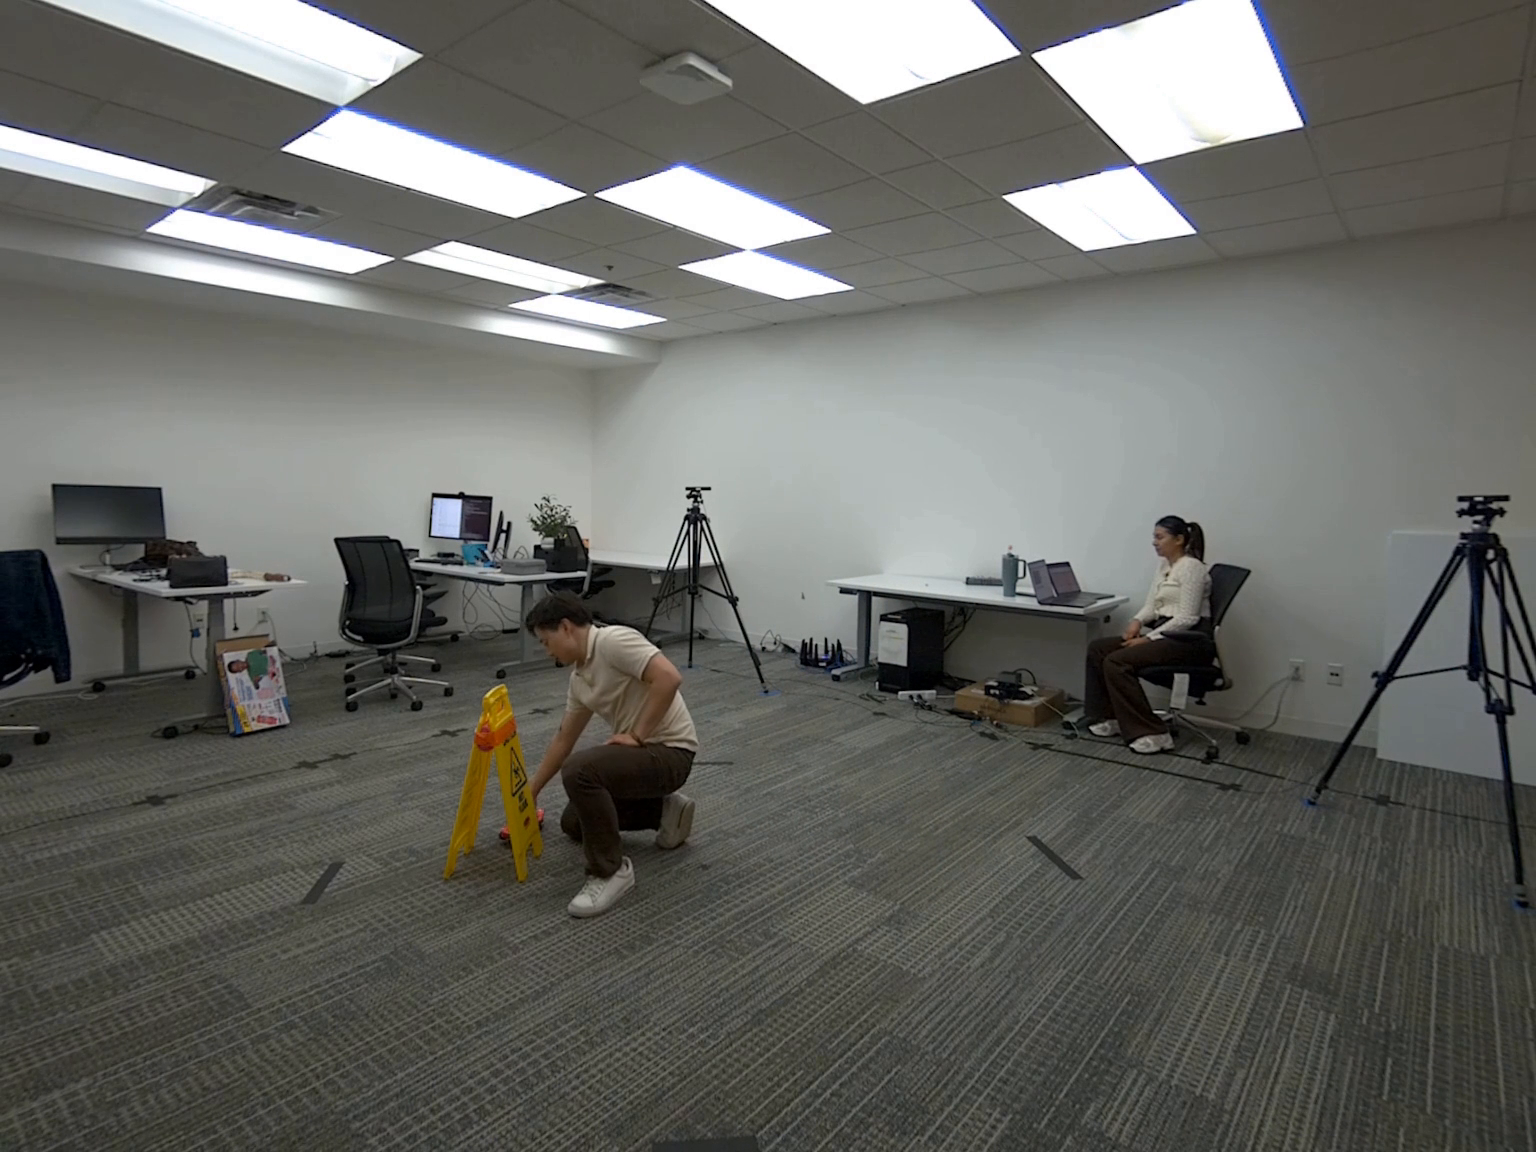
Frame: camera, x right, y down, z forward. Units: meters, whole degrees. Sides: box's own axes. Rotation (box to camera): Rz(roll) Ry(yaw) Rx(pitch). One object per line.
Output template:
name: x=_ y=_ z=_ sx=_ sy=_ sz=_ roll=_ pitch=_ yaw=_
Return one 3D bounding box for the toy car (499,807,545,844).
toy car: x=-0.970 y=0.972 z=3.390 sx=0.131 sy=0.082 sz=0.256 roll=8 pitch=17 yaw=4
